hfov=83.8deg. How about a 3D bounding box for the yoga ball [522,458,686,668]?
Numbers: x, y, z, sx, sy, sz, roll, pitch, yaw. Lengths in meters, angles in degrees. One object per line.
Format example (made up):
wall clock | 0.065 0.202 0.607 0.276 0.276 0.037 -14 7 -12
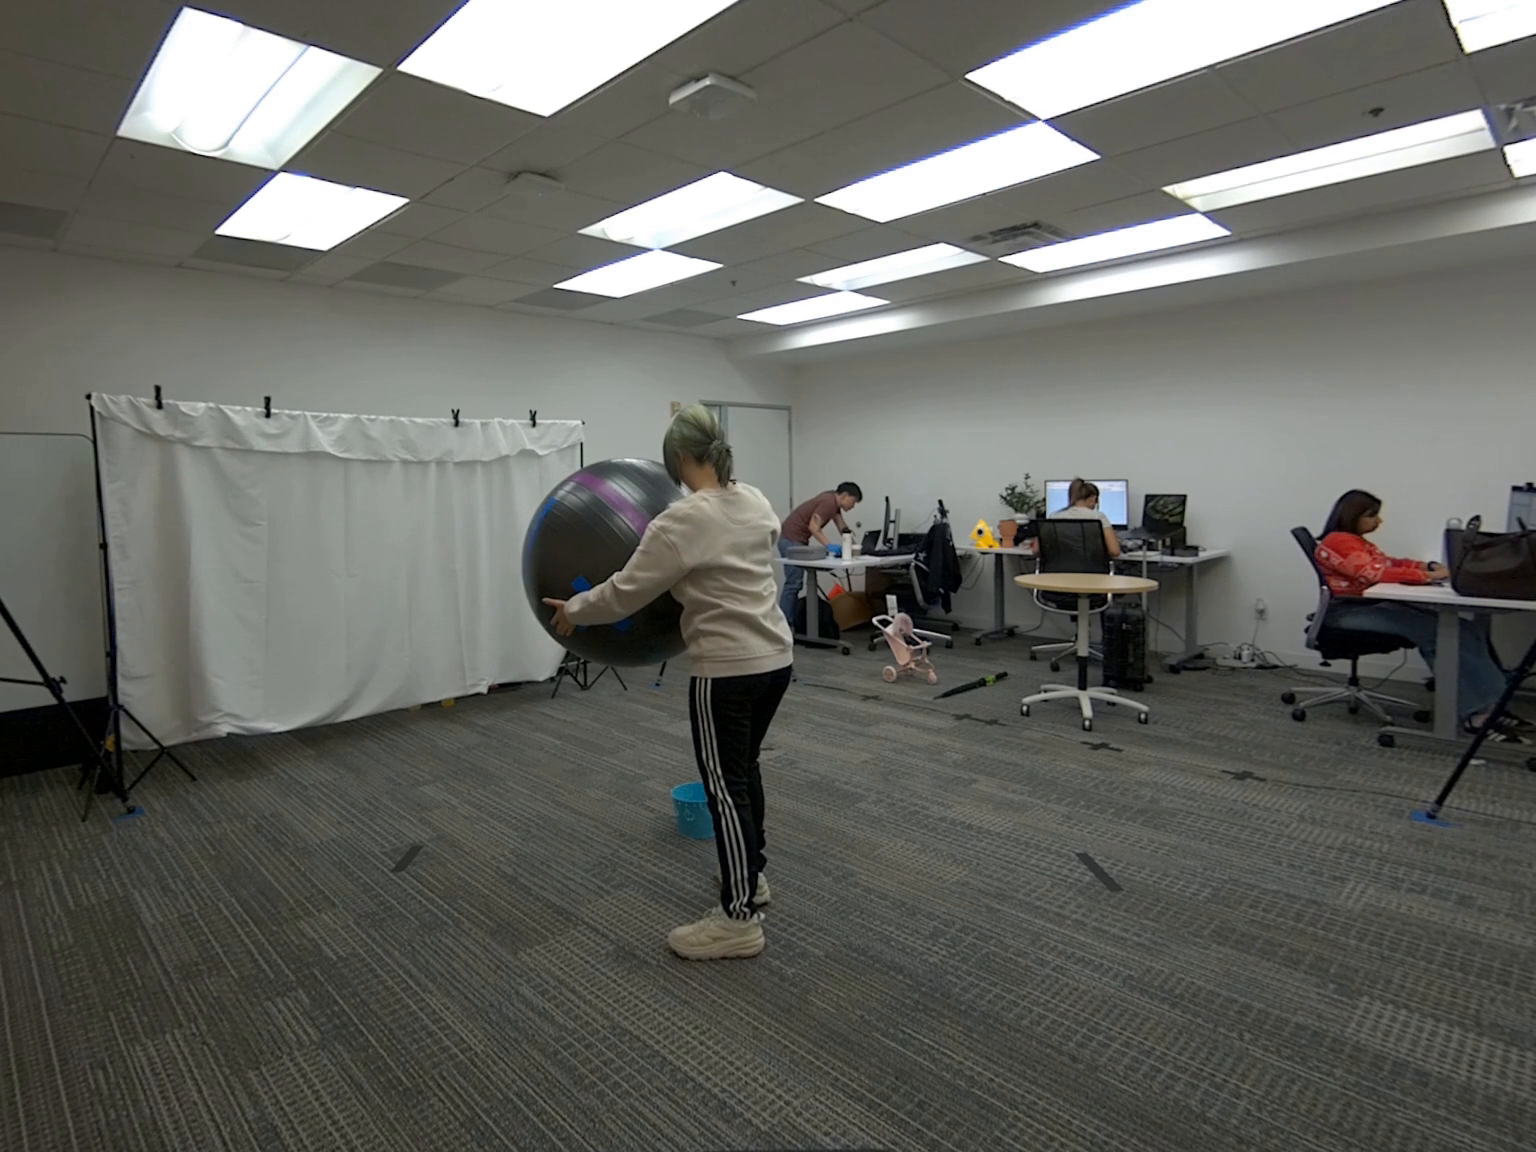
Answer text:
yoga ball | -0.511 -0.041 3.096 0.757 0.755 0.762 -1 5 -2
